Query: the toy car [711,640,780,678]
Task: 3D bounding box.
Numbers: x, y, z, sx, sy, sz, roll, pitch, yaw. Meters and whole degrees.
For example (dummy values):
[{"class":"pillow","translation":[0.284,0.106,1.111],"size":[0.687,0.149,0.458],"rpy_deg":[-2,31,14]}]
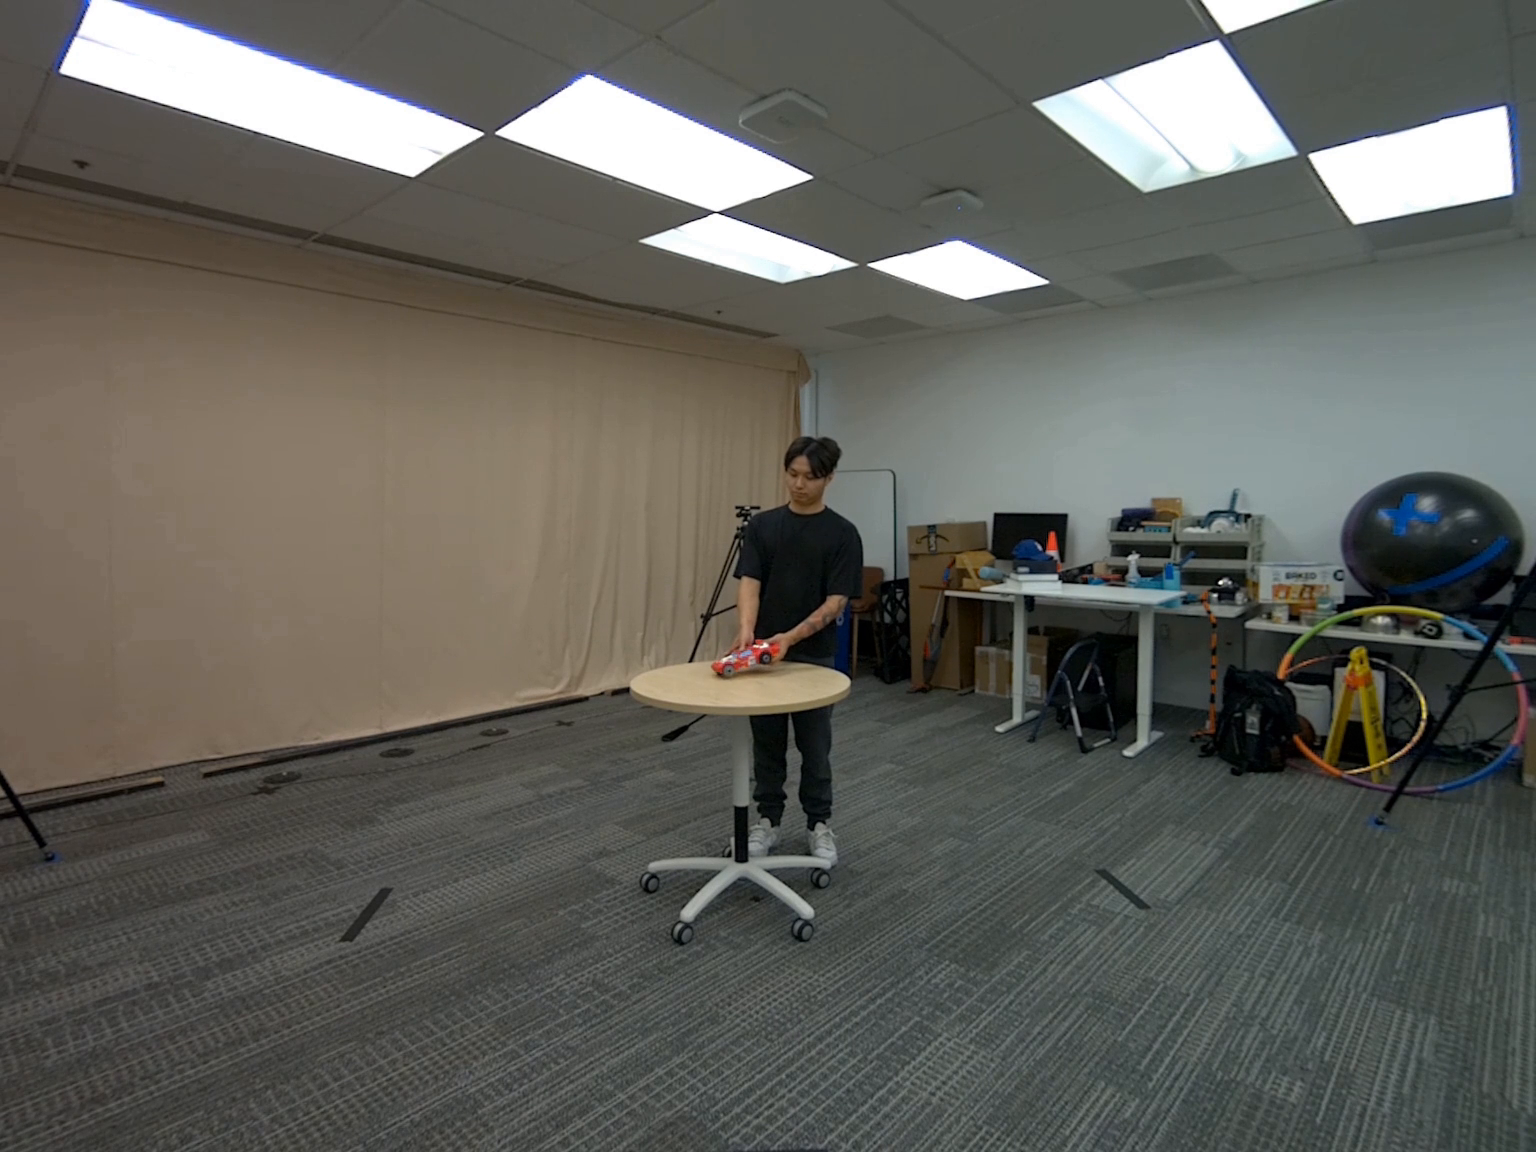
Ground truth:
[{"class":"toy car","translation":[-0.073,0.298,3.036],"size":[0.252,0.083,0.132],"rpy_deg":[-25,8,-15]}]
